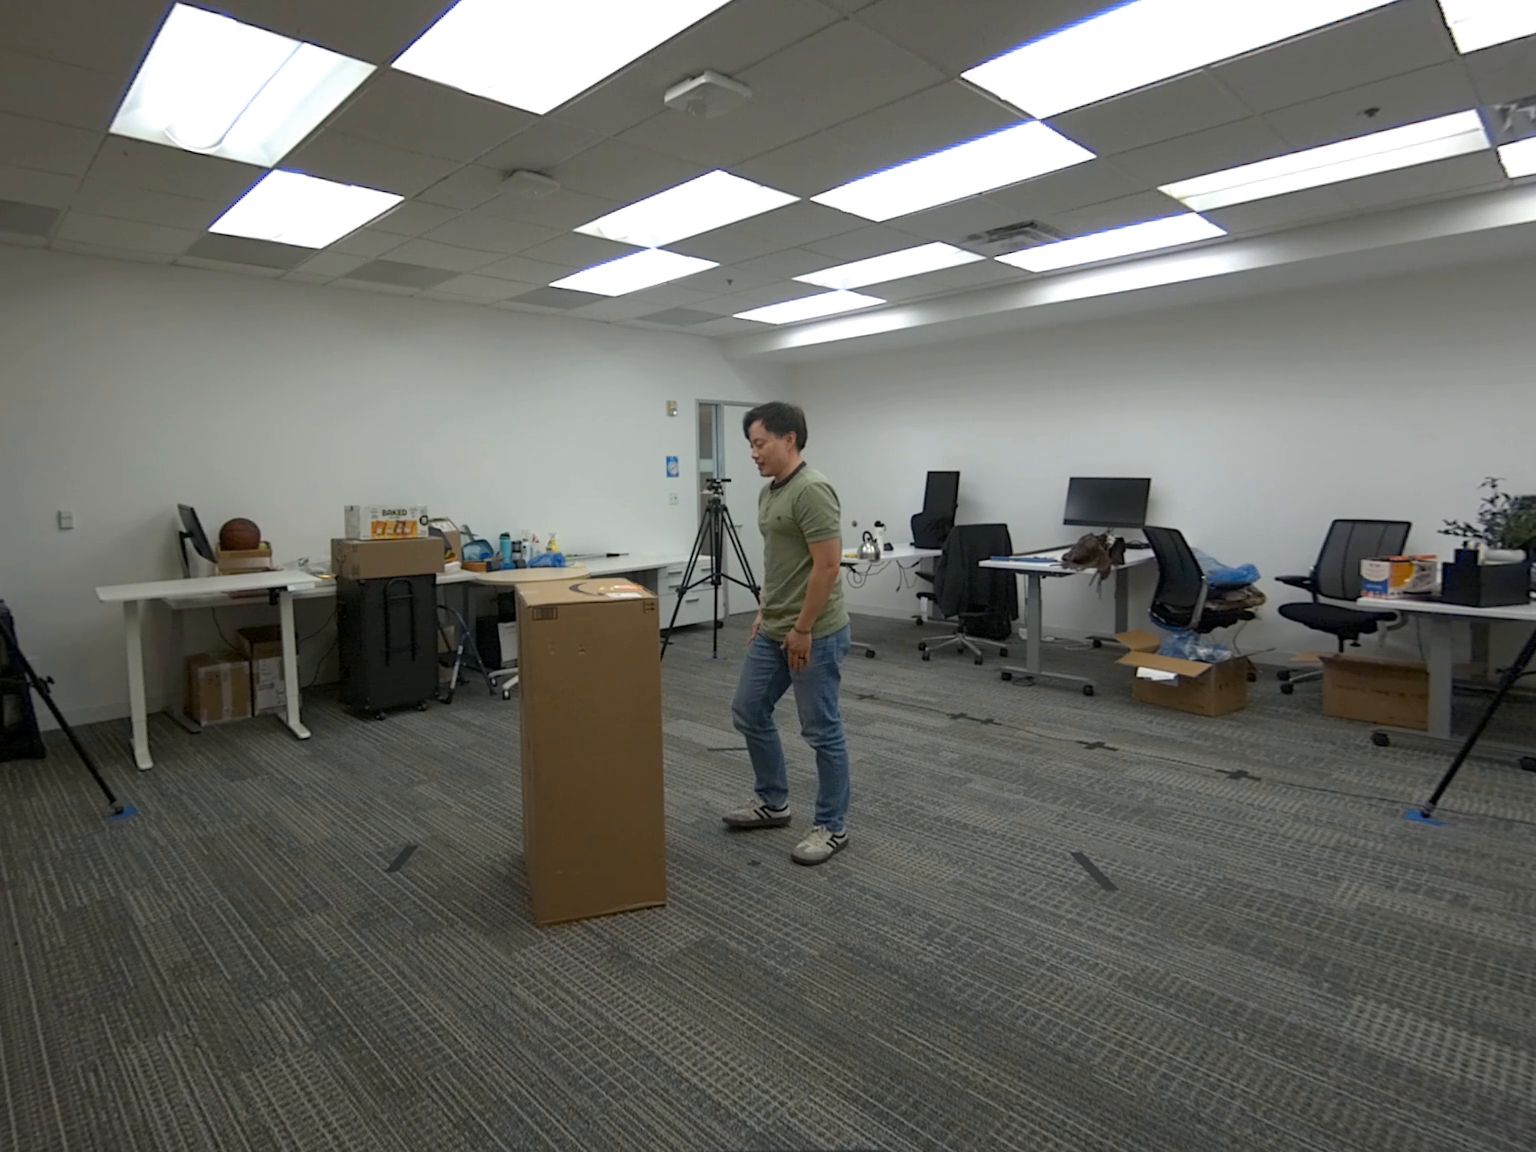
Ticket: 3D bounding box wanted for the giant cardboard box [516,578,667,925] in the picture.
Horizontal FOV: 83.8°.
[{"bbox_3d":[-0.632,0.558,2.985,0.419,1.022,0.590,-2,4,-20],"label":"giant cardboard box"}]
